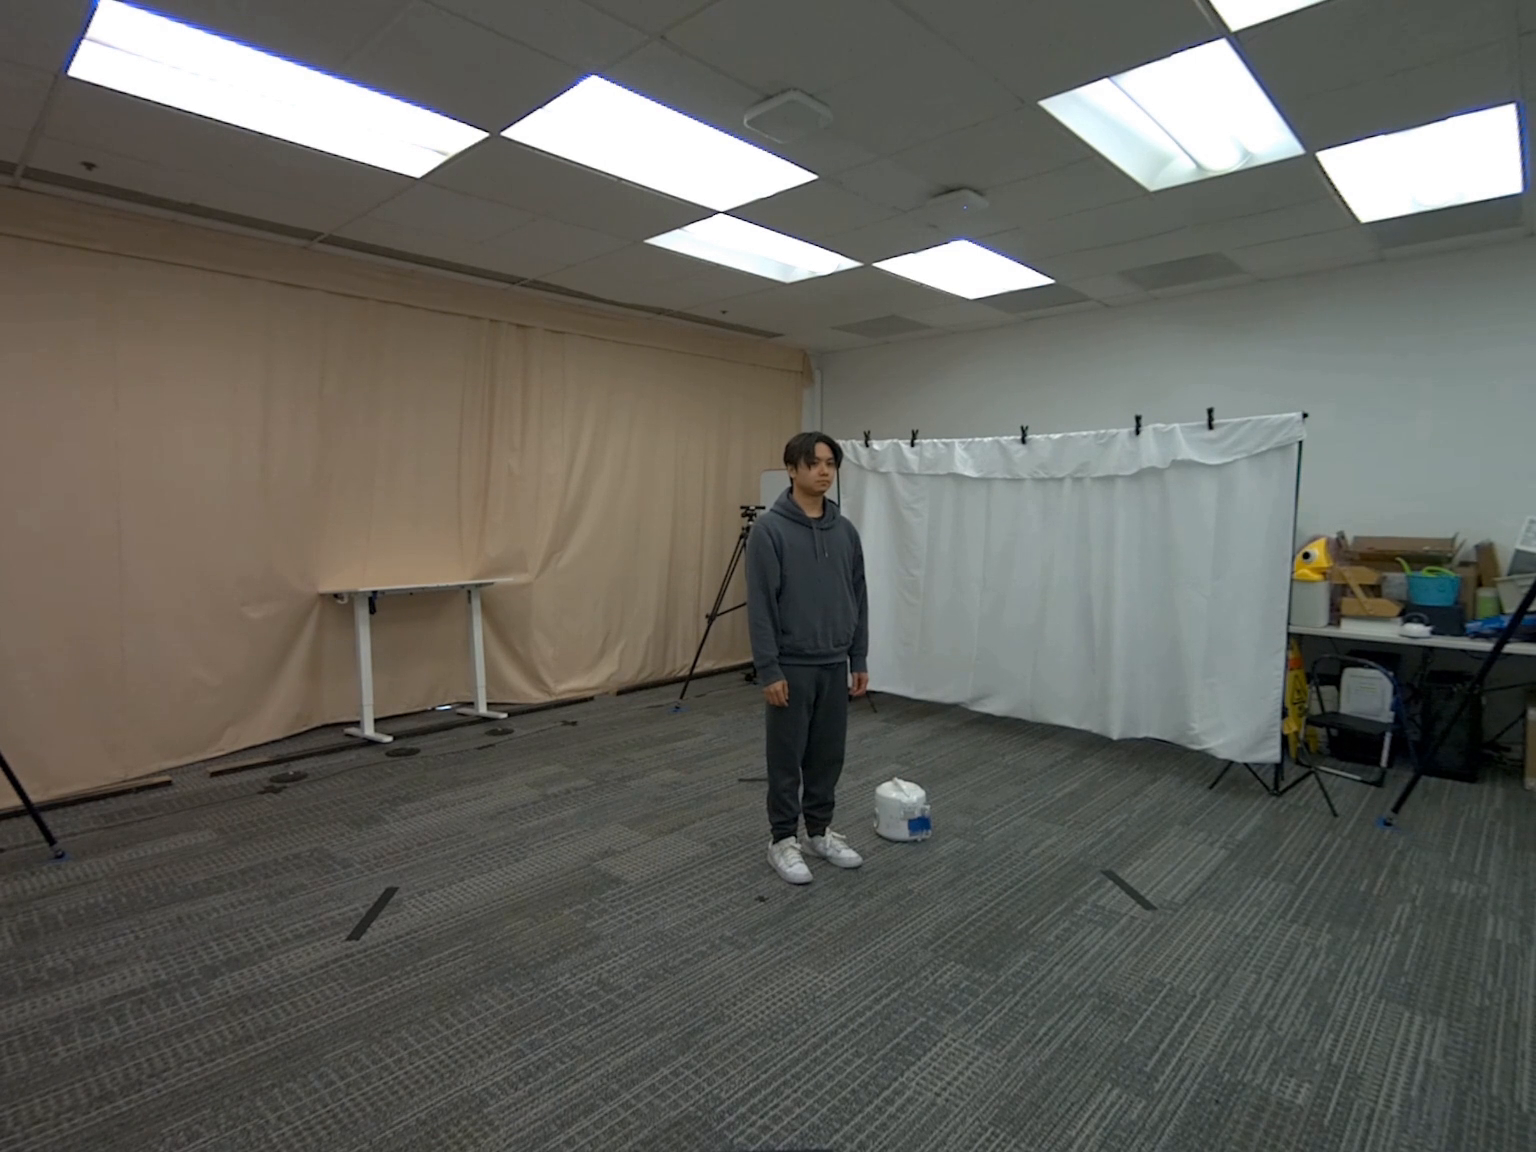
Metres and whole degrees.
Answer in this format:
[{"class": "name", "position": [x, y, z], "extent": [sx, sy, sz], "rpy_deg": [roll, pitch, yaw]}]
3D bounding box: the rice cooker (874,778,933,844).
[{"class": "rice cooker", "position": [0.561, 0.982, 3.553], "extent": [0.215, 0.232, 0.223], "rpy_deg": [0, 4, -9]}]
